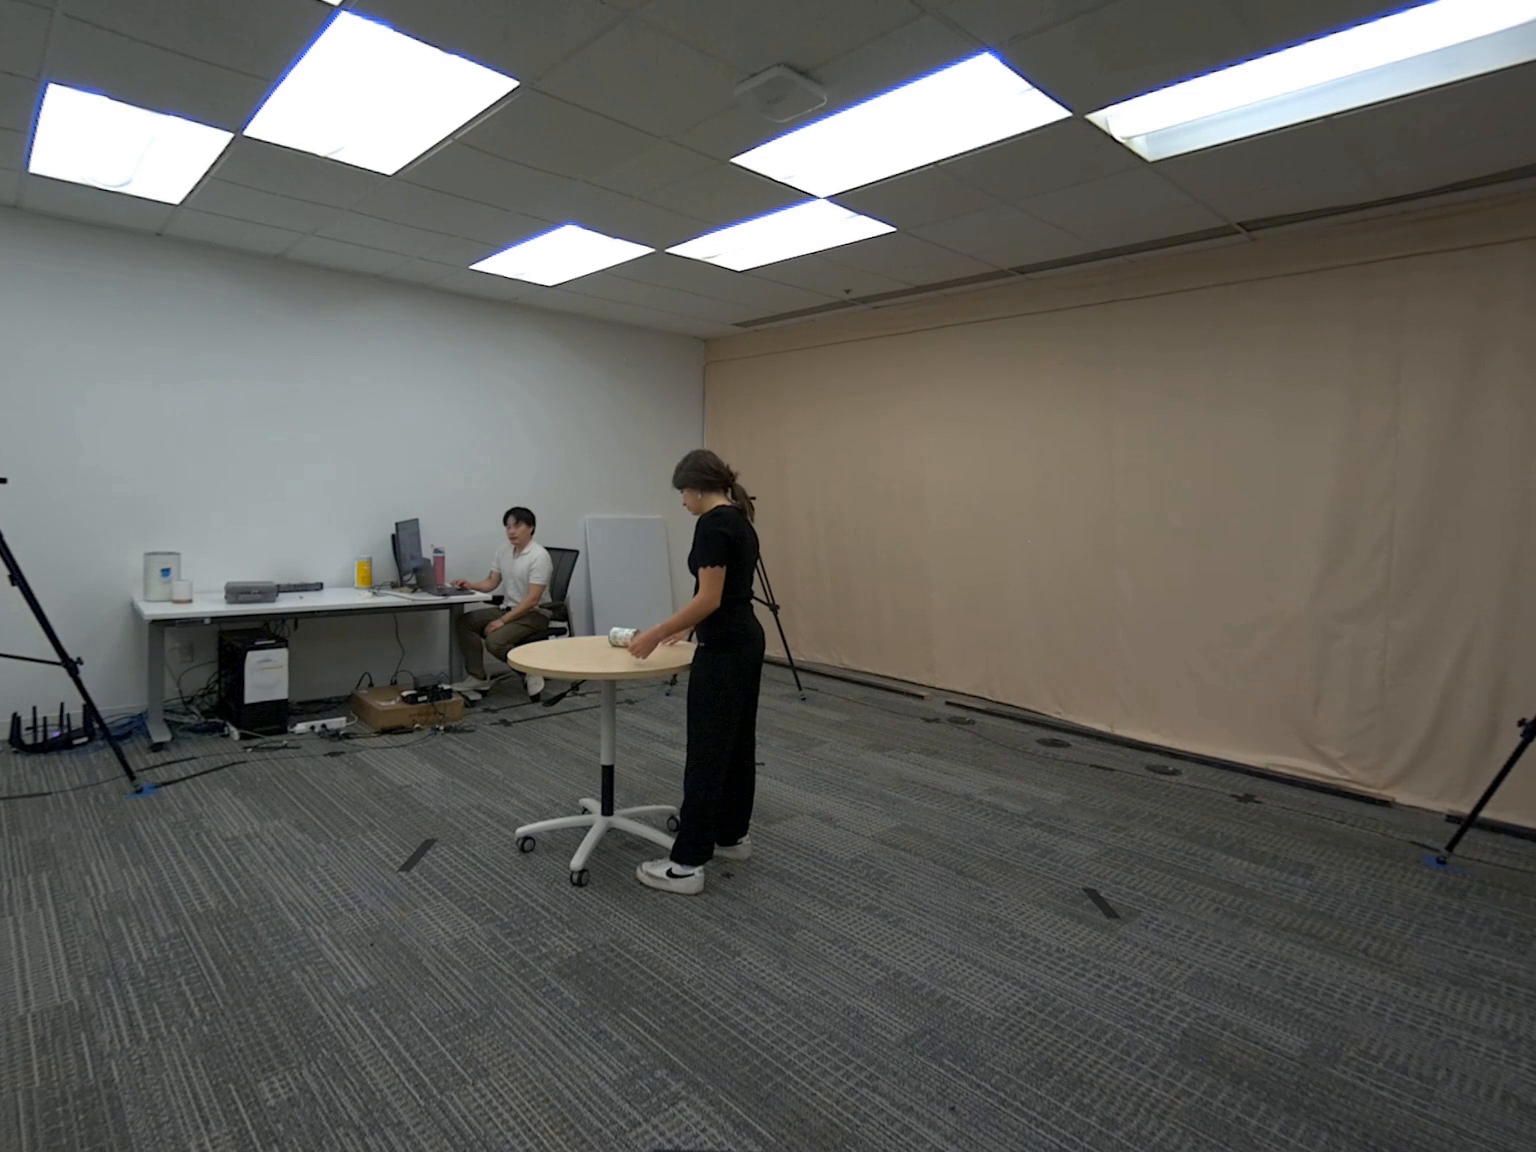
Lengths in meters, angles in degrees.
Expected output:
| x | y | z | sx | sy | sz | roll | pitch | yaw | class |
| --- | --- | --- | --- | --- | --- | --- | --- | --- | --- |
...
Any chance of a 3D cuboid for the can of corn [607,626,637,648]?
| x | y | z | sx | sy | sz | roll | pitch | yaw | class |
| --- | --- | --- | --- | --- | --- | --- | --- | --- | --- |
| -0.579 | 0.245 | 3.390 | 0.113 | 0.074 | 0.073 | 3 | 5 | 22 | can of corn |
